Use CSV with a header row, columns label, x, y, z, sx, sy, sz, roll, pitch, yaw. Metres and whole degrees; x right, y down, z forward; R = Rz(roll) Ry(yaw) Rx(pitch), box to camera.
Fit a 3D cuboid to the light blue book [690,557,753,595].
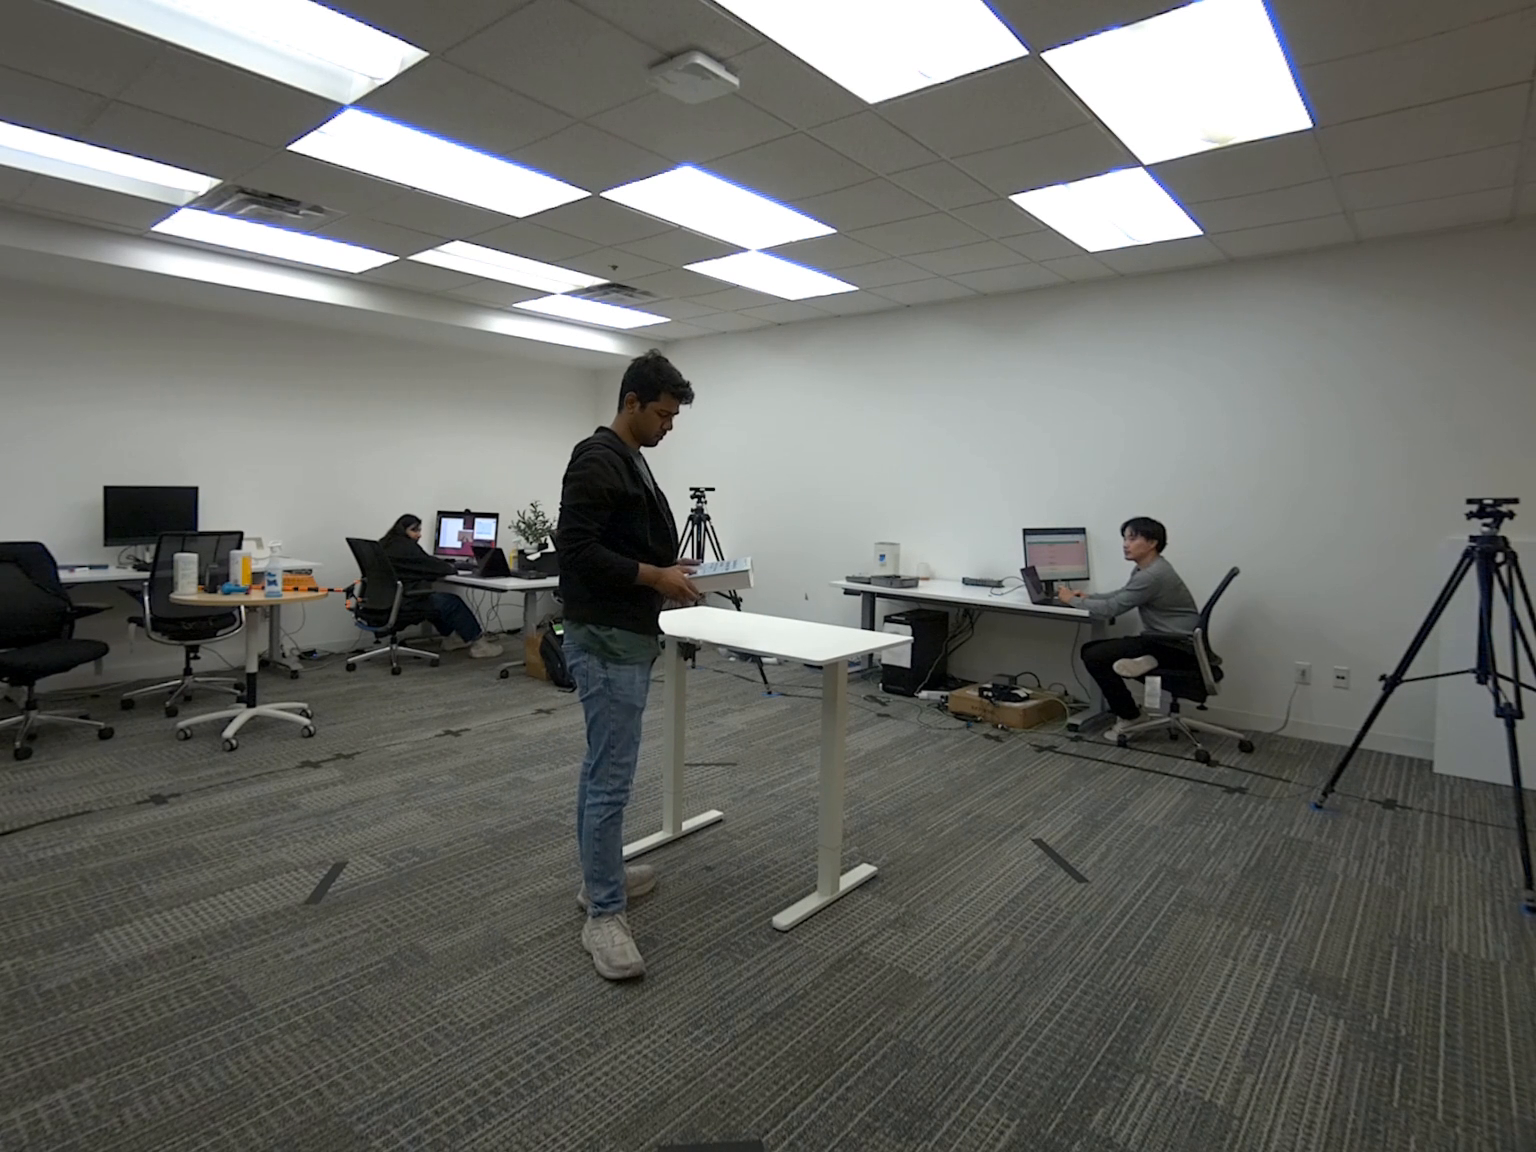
label,x,y,z,sx,sy,sz,roll,pitch,yaw
light blue book,-0.199,0.007,2.666,0.261,0.058,0.193,-7,14,2
